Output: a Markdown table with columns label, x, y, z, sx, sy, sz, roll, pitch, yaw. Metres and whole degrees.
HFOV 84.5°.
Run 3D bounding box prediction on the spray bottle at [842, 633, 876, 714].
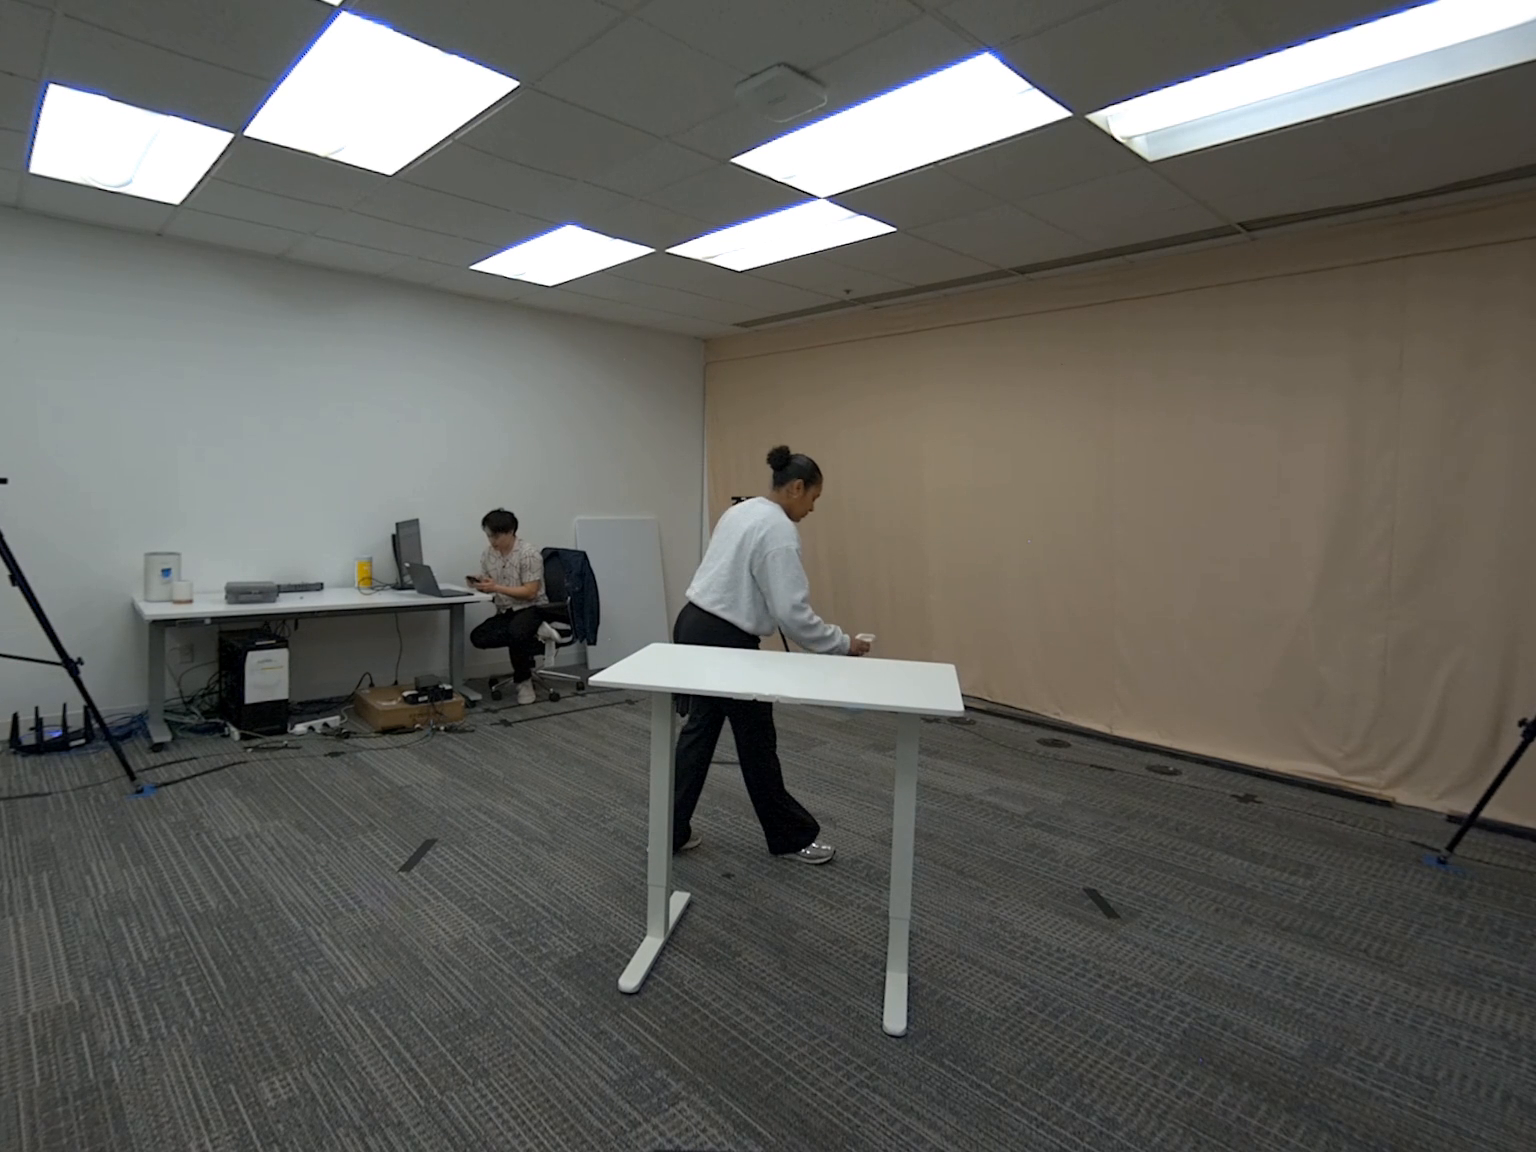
| label | x | y | z | sx | sy | sz | roll | pitch | yaw |
| --- | --- | --- | --- | --- | --- | --- | --- | --- | --- |
| spray bottle | 0.329 | 0.369 | 3.170 | 0.090 | 0.297 | 0.087 | 11 | 4 | 1 |
